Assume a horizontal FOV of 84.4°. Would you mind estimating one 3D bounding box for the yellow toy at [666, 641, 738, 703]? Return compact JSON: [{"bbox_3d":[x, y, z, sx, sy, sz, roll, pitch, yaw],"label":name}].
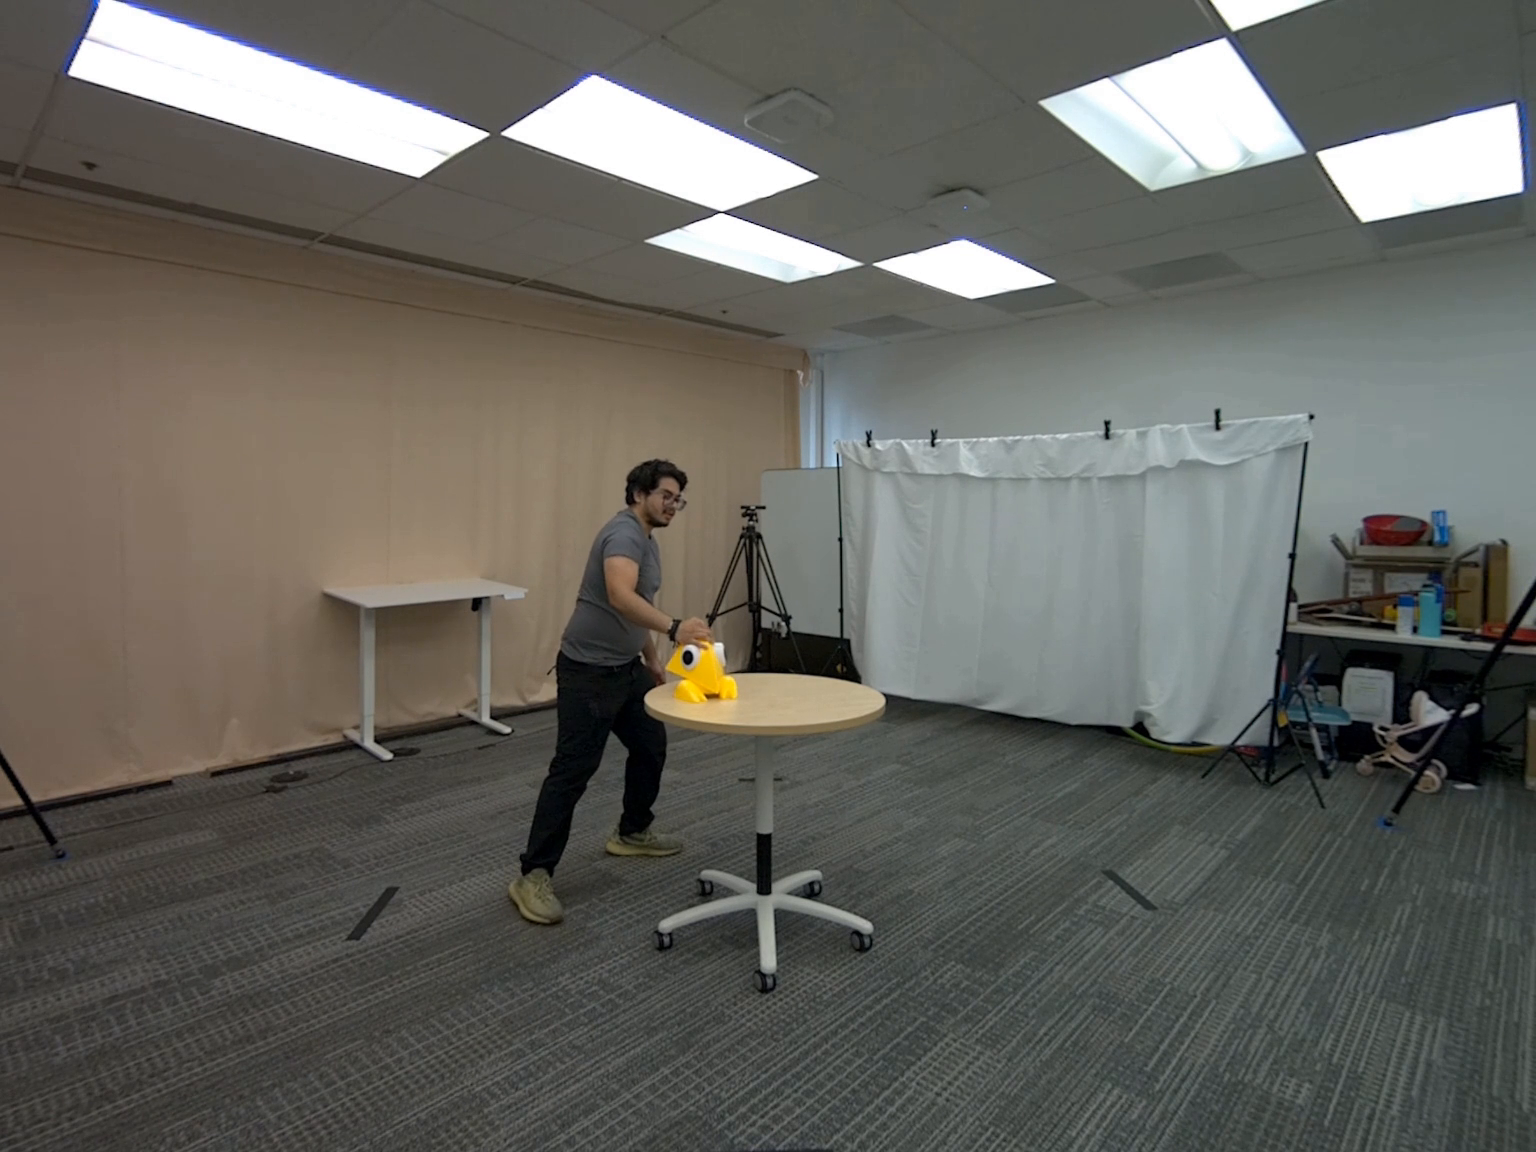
[{"bbox_3d":[-0.200,0.272,2.709,0.200,0.230,0.198,-2,4,-26],"label":"yellow toy"}]
